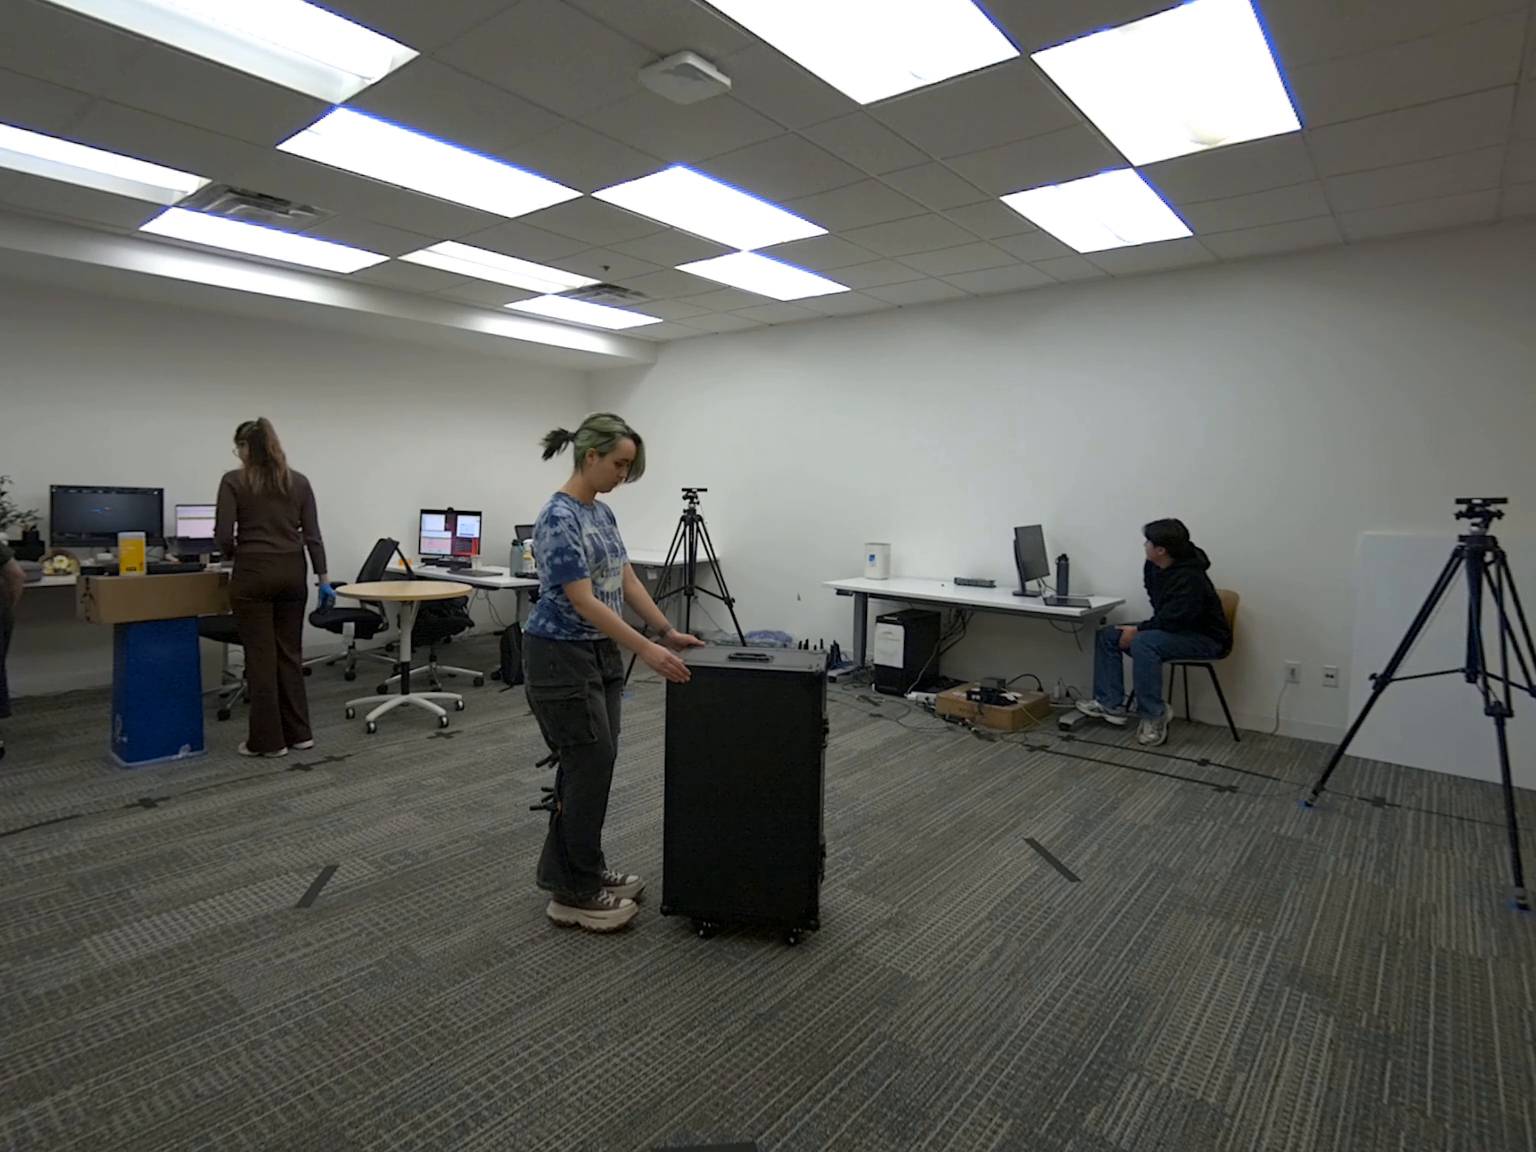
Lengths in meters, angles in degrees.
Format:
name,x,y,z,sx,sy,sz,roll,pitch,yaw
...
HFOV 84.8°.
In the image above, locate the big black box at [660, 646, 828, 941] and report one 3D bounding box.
name,x,y,z,sx,sy,sz,roll,pitch,yaw
big black box,-0.074,0.689,2.745,0.527,0.860,0.393,1,2,9
